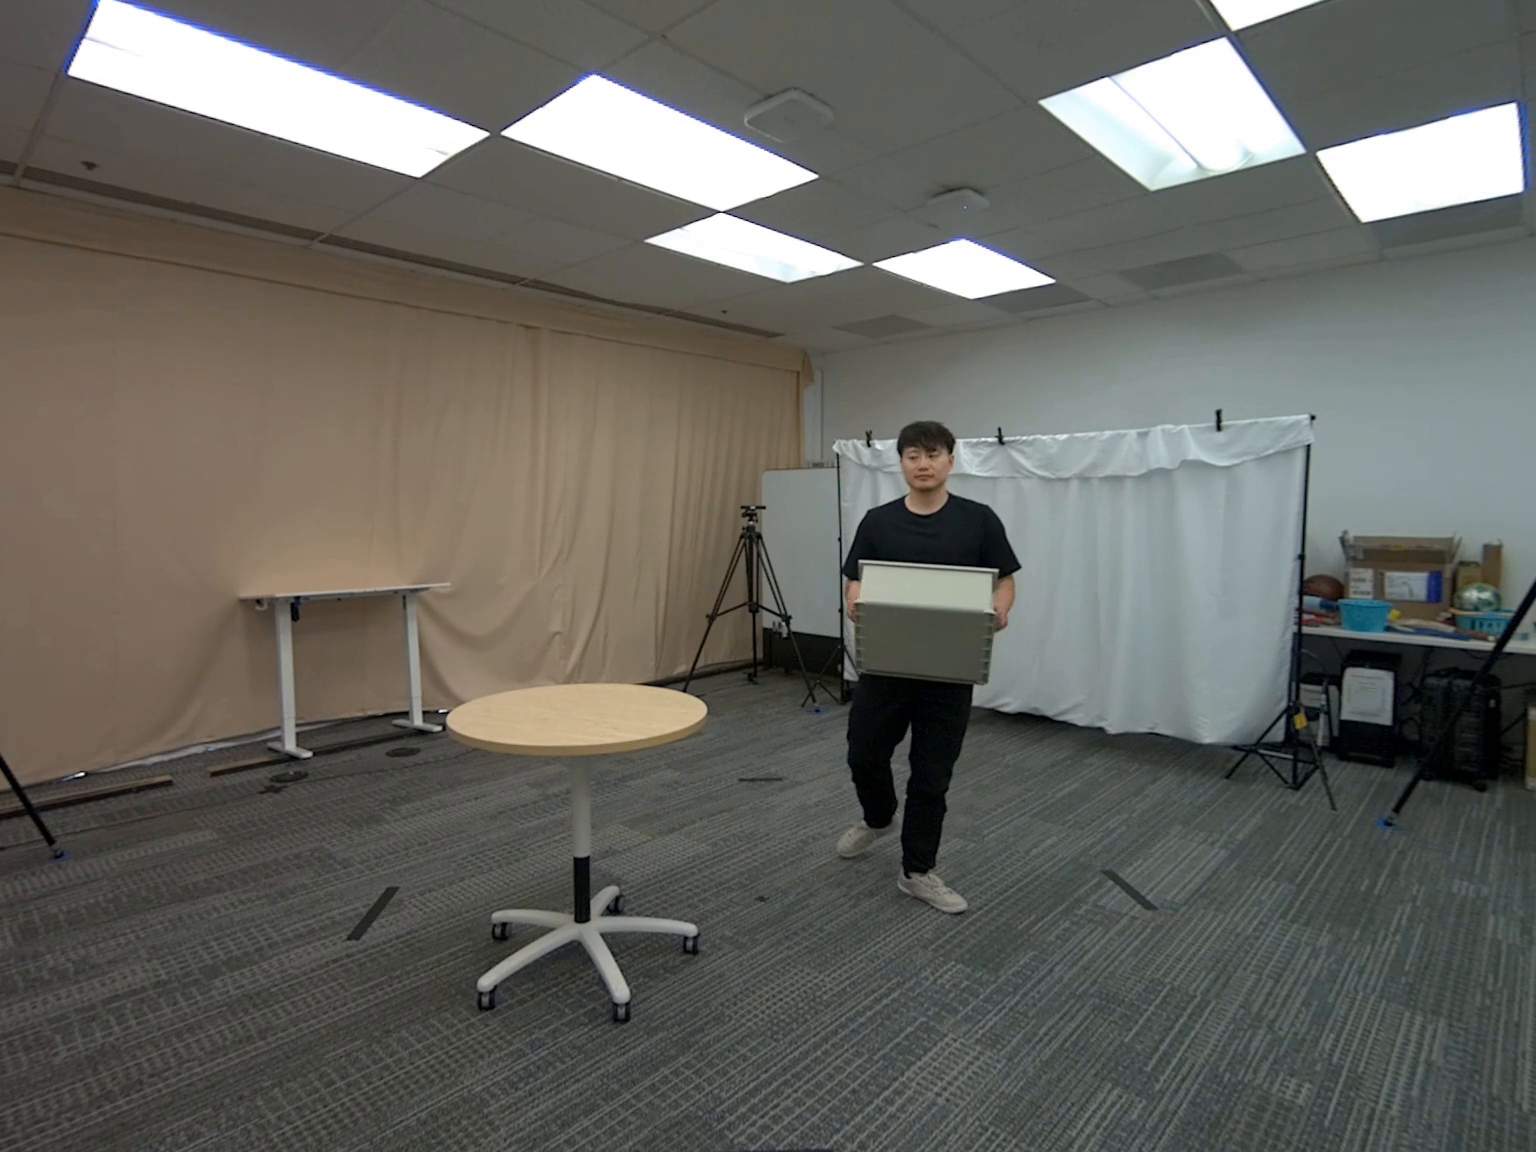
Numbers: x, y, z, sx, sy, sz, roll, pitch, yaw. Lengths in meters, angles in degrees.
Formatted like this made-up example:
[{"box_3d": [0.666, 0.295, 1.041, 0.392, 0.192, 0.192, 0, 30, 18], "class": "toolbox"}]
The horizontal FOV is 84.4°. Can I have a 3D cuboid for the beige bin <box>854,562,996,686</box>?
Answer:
[{"box_3d": [0.492, 0.167, 2.680, 0.430, 0.368, 0.190, 5, 44, 15], "class": "beige bin"}]
